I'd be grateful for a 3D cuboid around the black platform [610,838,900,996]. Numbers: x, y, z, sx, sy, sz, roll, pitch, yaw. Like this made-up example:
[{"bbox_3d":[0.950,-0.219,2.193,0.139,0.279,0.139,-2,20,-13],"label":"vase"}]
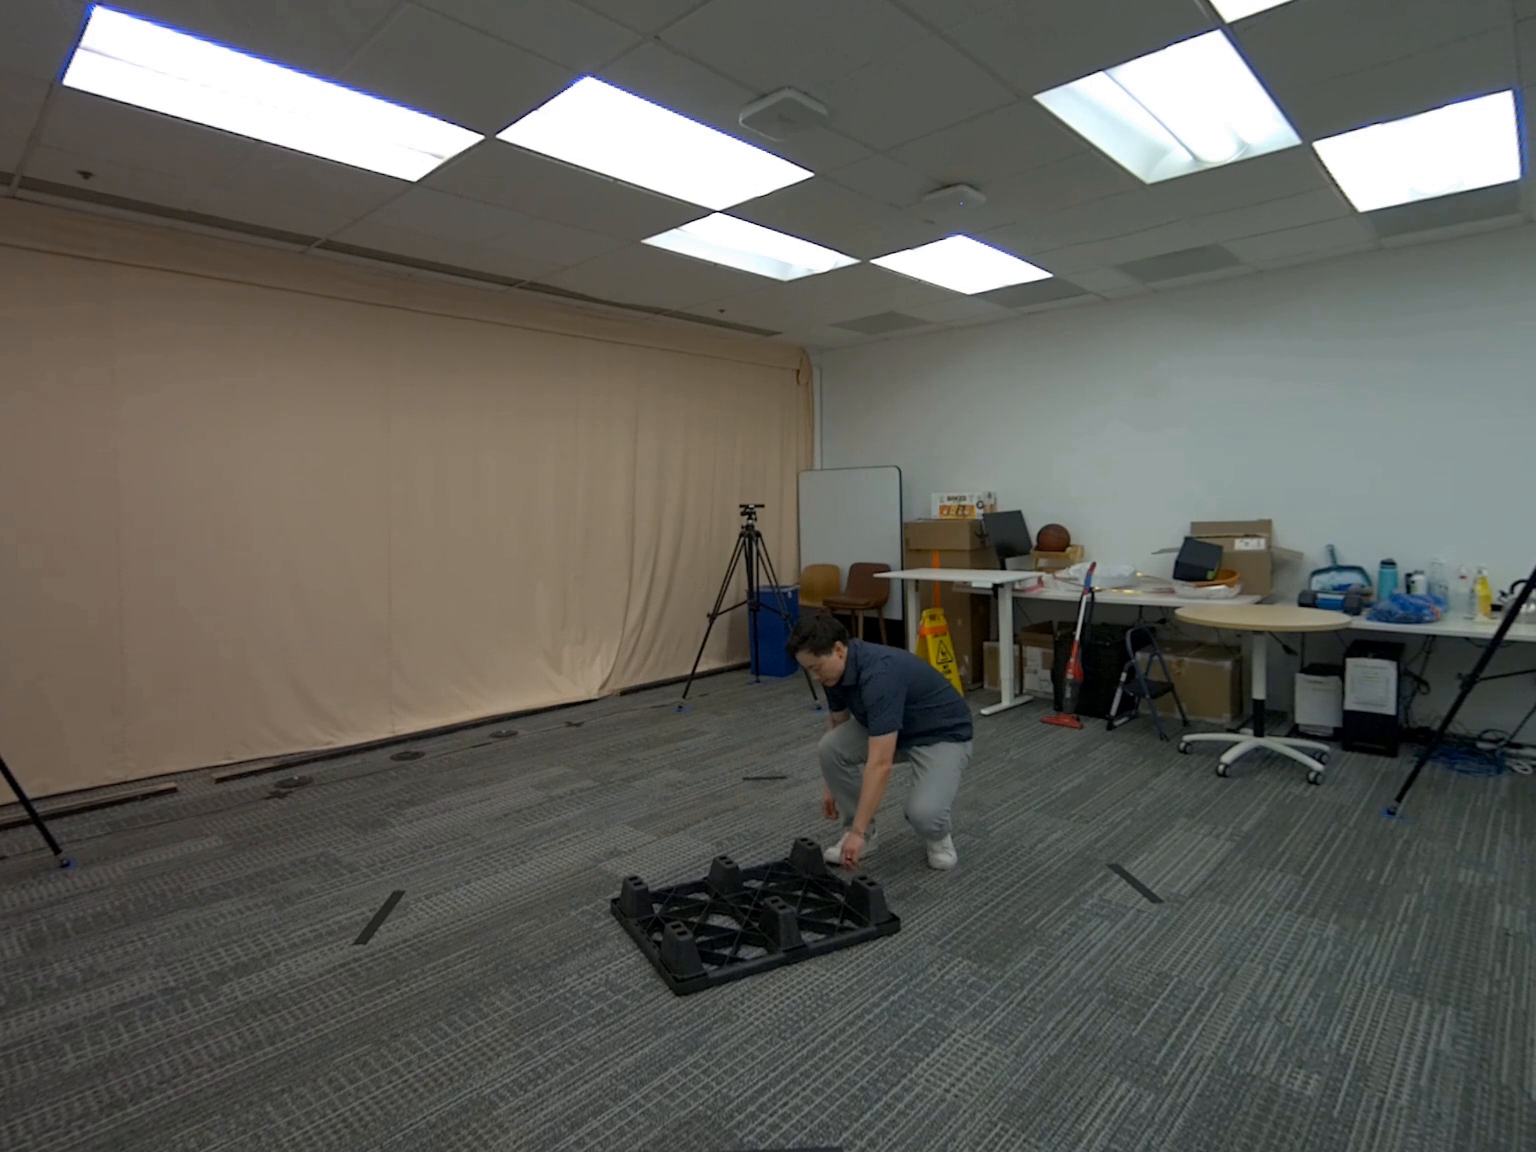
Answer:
[{"bbox_3d":[-0.055,1.087,2.823,0.785,0.143,0.622,-3,5,-28],"label":"black platform"}]
